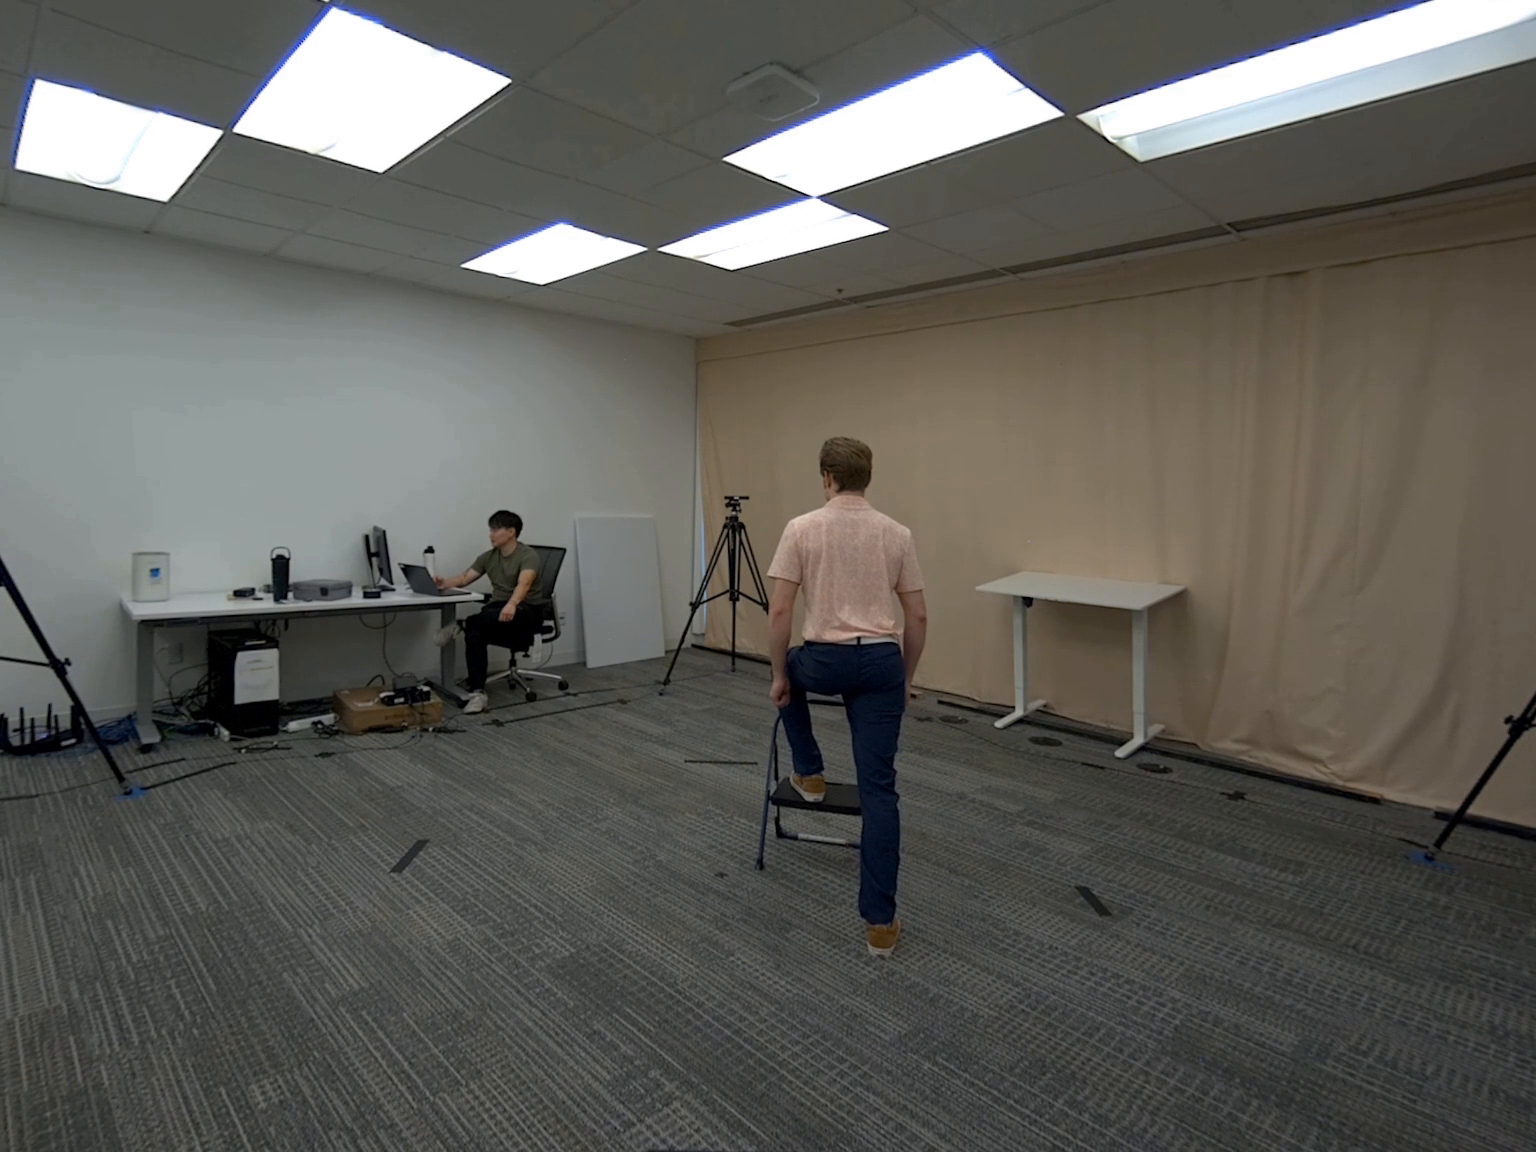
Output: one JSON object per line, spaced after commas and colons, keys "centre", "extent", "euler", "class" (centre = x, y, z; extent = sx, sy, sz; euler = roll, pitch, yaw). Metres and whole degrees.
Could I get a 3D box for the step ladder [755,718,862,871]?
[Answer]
{"centre": [0.199, 0.796, 3.253], "extent": [0.436, 0.605, 0.346], "euler": [3, 3, 15], "class": "step ladder"}
